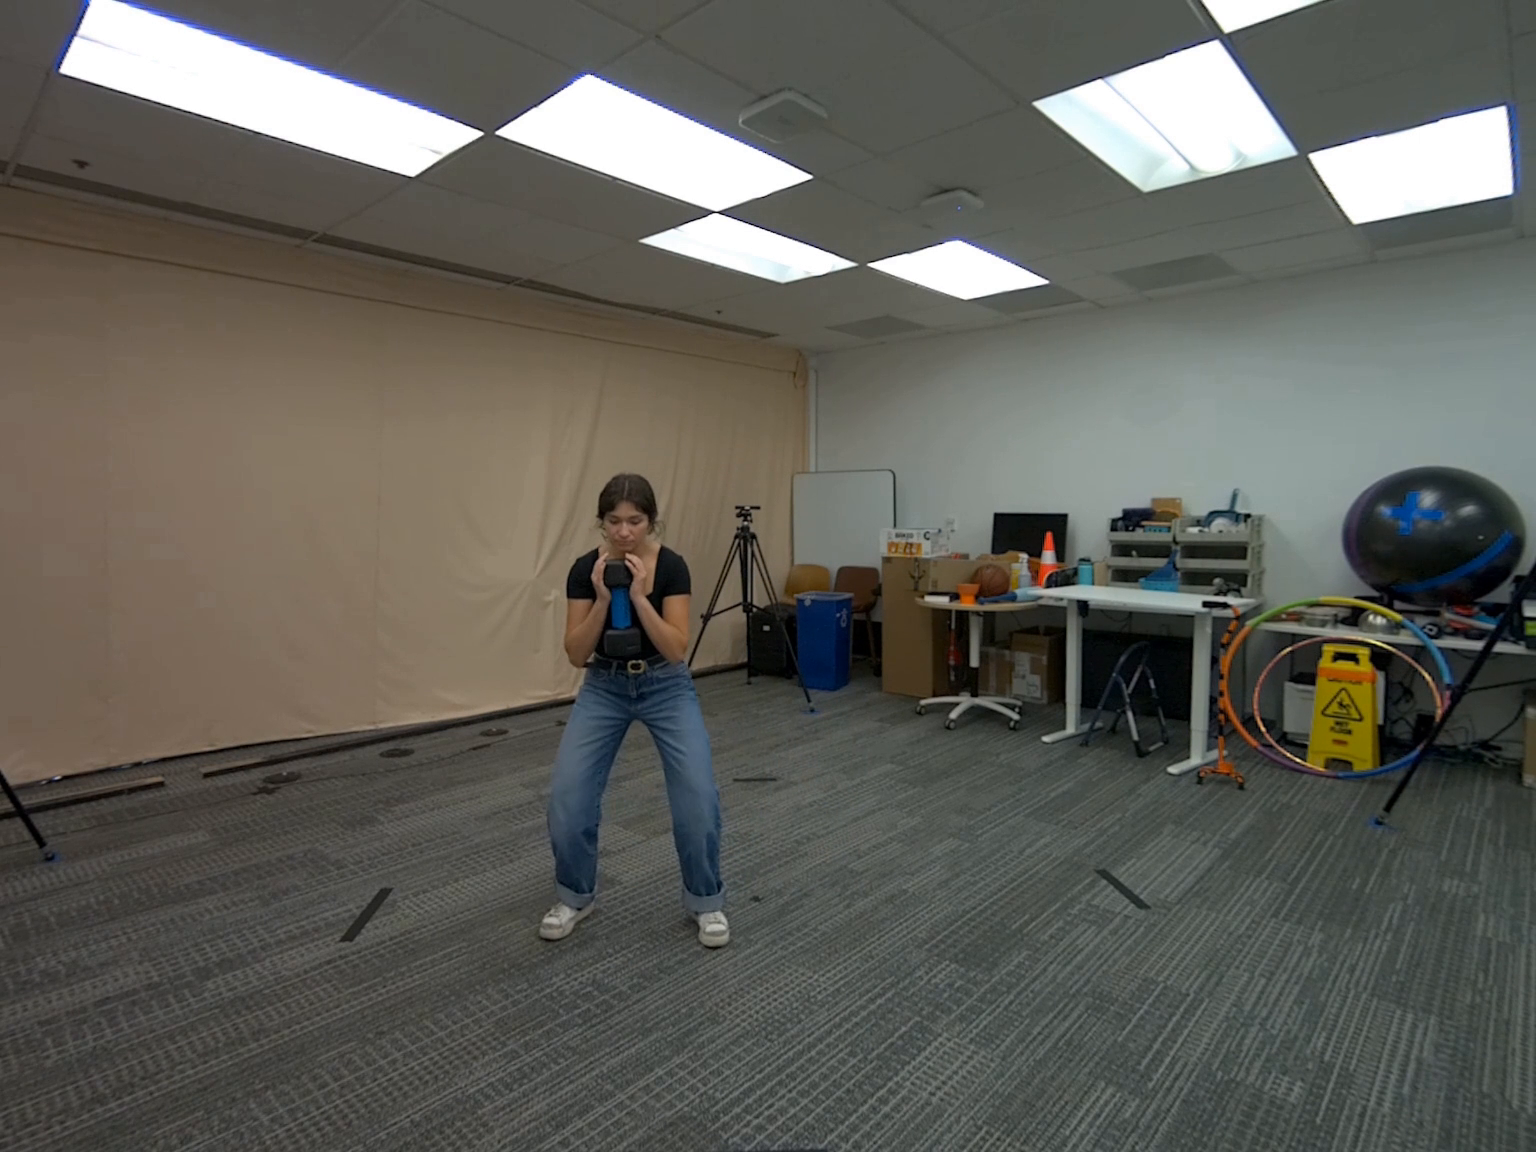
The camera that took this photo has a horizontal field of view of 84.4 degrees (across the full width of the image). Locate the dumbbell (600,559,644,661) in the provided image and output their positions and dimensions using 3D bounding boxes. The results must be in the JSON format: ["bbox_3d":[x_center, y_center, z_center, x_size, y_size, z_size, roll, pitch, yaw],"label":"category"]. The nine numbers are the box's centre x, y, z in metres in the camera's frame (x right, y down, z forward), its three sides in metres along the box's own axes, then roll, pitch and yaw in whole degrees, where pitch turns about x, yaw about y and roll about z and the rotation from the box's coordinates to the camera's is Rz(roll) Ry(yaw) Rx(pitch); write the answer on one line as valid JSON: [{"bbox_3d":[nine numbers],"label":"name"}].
[{"bbox_3d":[-0.458,0.101,2.601,0.112,0.292,0.120,3,10,33],"label":"dumbbell"}]
